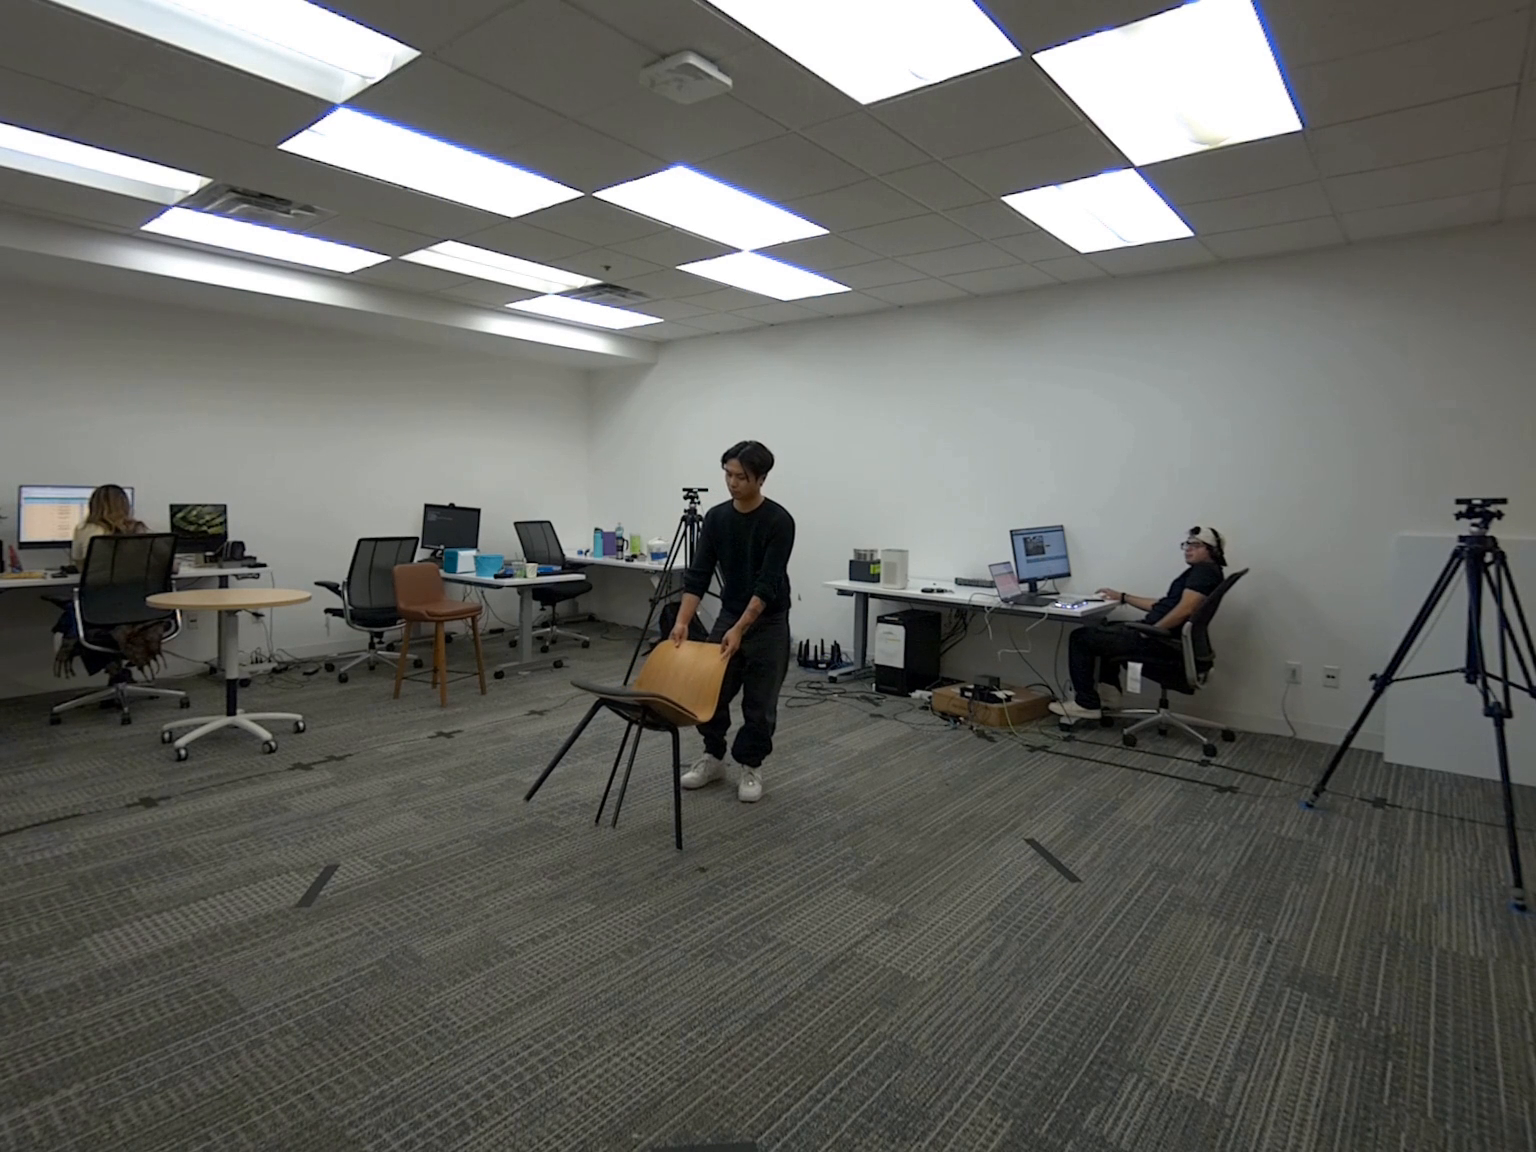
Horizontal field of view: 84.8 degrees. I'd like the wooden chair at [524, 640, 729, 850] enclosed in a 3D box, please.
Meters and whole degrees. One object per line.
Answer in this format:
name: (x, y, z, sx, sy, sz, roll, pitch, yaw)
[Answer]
wooden chair: (-0.529, 0.554, 3.356, 0.493, 0.888, 0.501, 3, -28, 34)
